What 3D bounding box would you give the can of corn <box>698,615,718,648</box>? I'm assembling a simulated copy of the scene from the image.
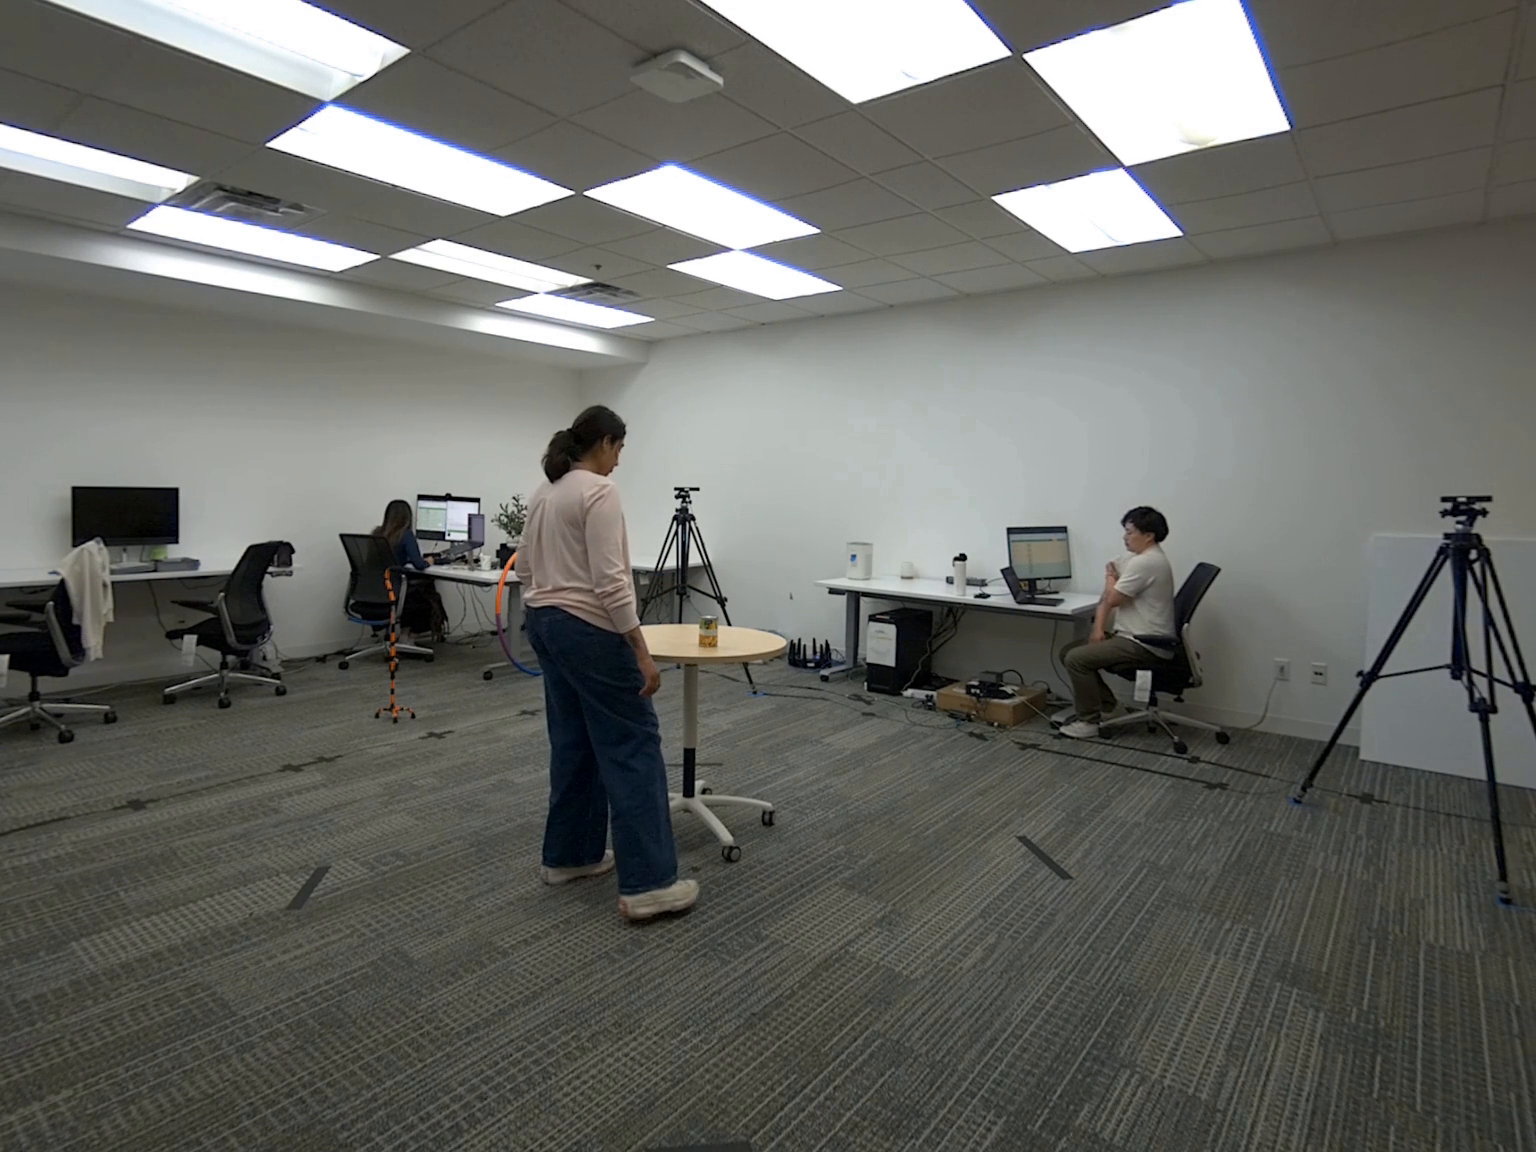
[{"bbox_3d":[-0.241,0.213,3.271,0.074,0.111,0.074,0,3,-2],"label":"can of corn"}]
